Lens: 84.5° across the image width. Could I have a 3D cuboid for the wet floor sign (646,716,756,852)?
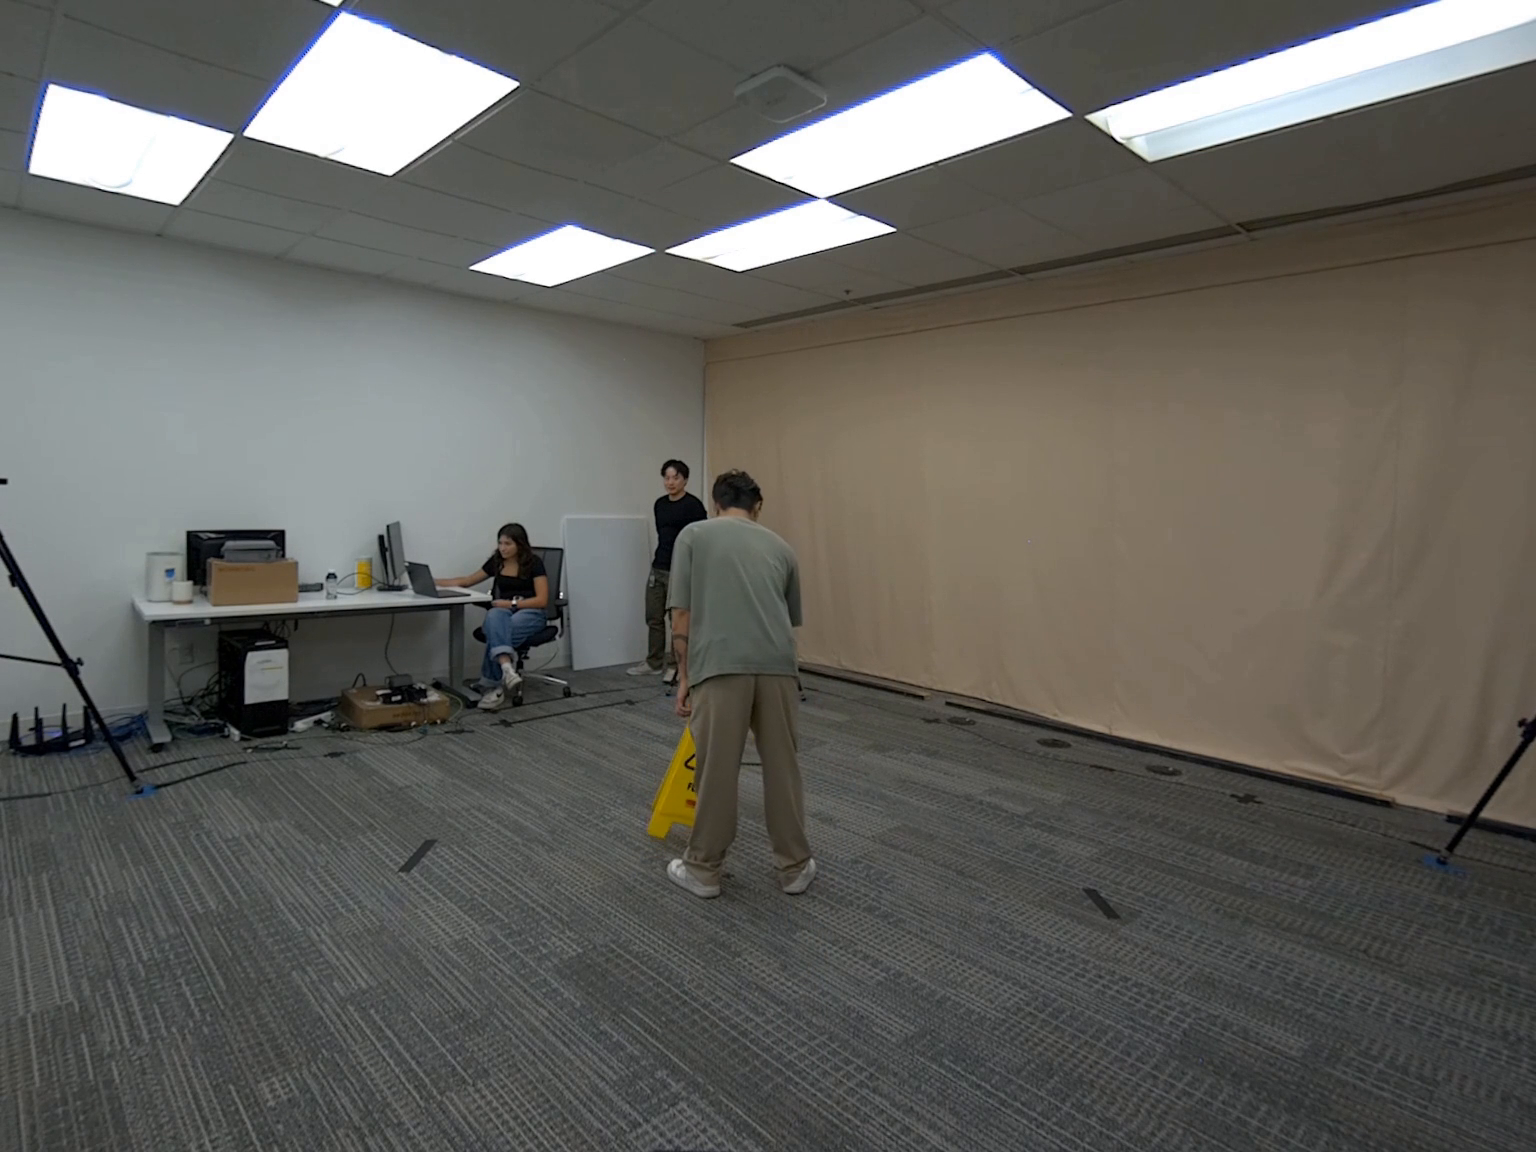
[{"bbox_3d":[-0.243,0.737,3.391,0.282,0.645,0.290,17,2,-2],"label":"wet floor sign"}]
